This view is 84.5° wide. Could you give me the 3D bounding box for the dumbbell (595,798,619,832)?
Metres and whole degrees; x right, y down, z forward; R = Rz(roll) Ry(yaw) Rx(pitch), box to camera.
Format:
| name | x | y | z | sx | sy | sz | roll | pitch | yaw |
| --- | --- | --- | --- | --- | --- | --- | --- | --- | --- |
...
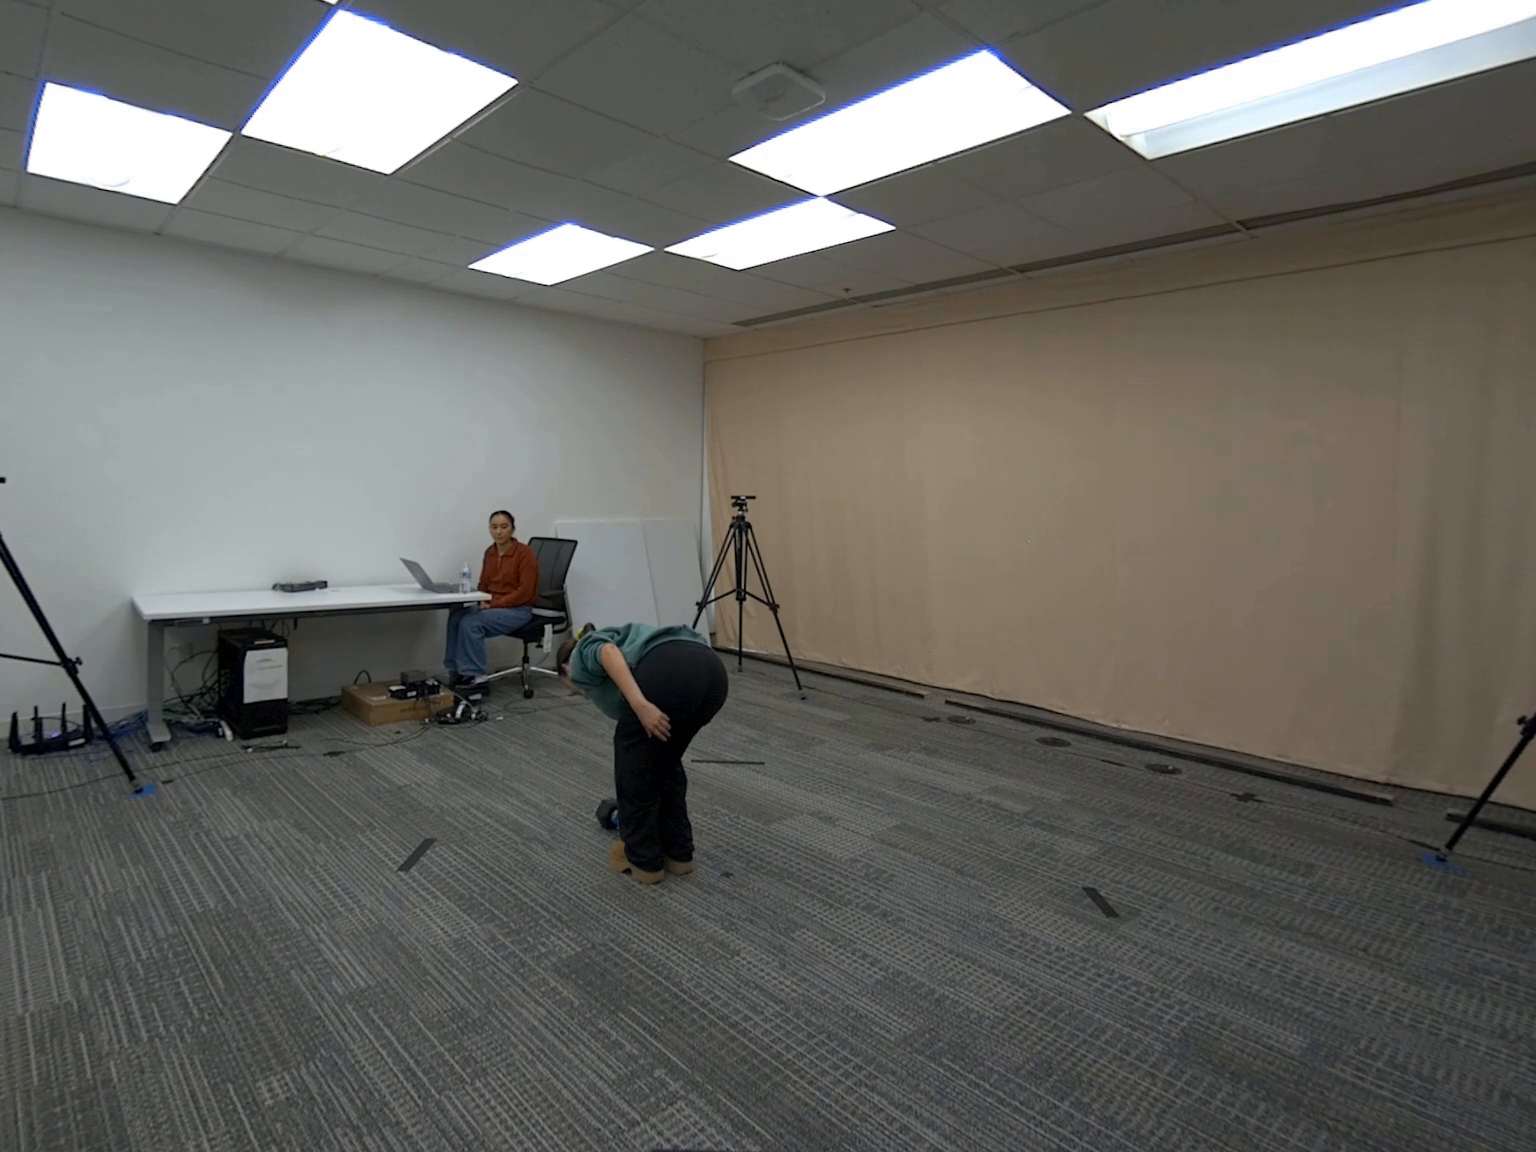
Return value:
| name | x | y | z | sx | sy | sz | roll | pitch | yaw |
| --- | --- | --- | --- | --- | --- | --- | --- | --- | --- |
| dumbbell | -0.594 | 1.000 | 3.439 | 0.108 | 0.121 | 0.301 | -29 | 22 | -34 |
